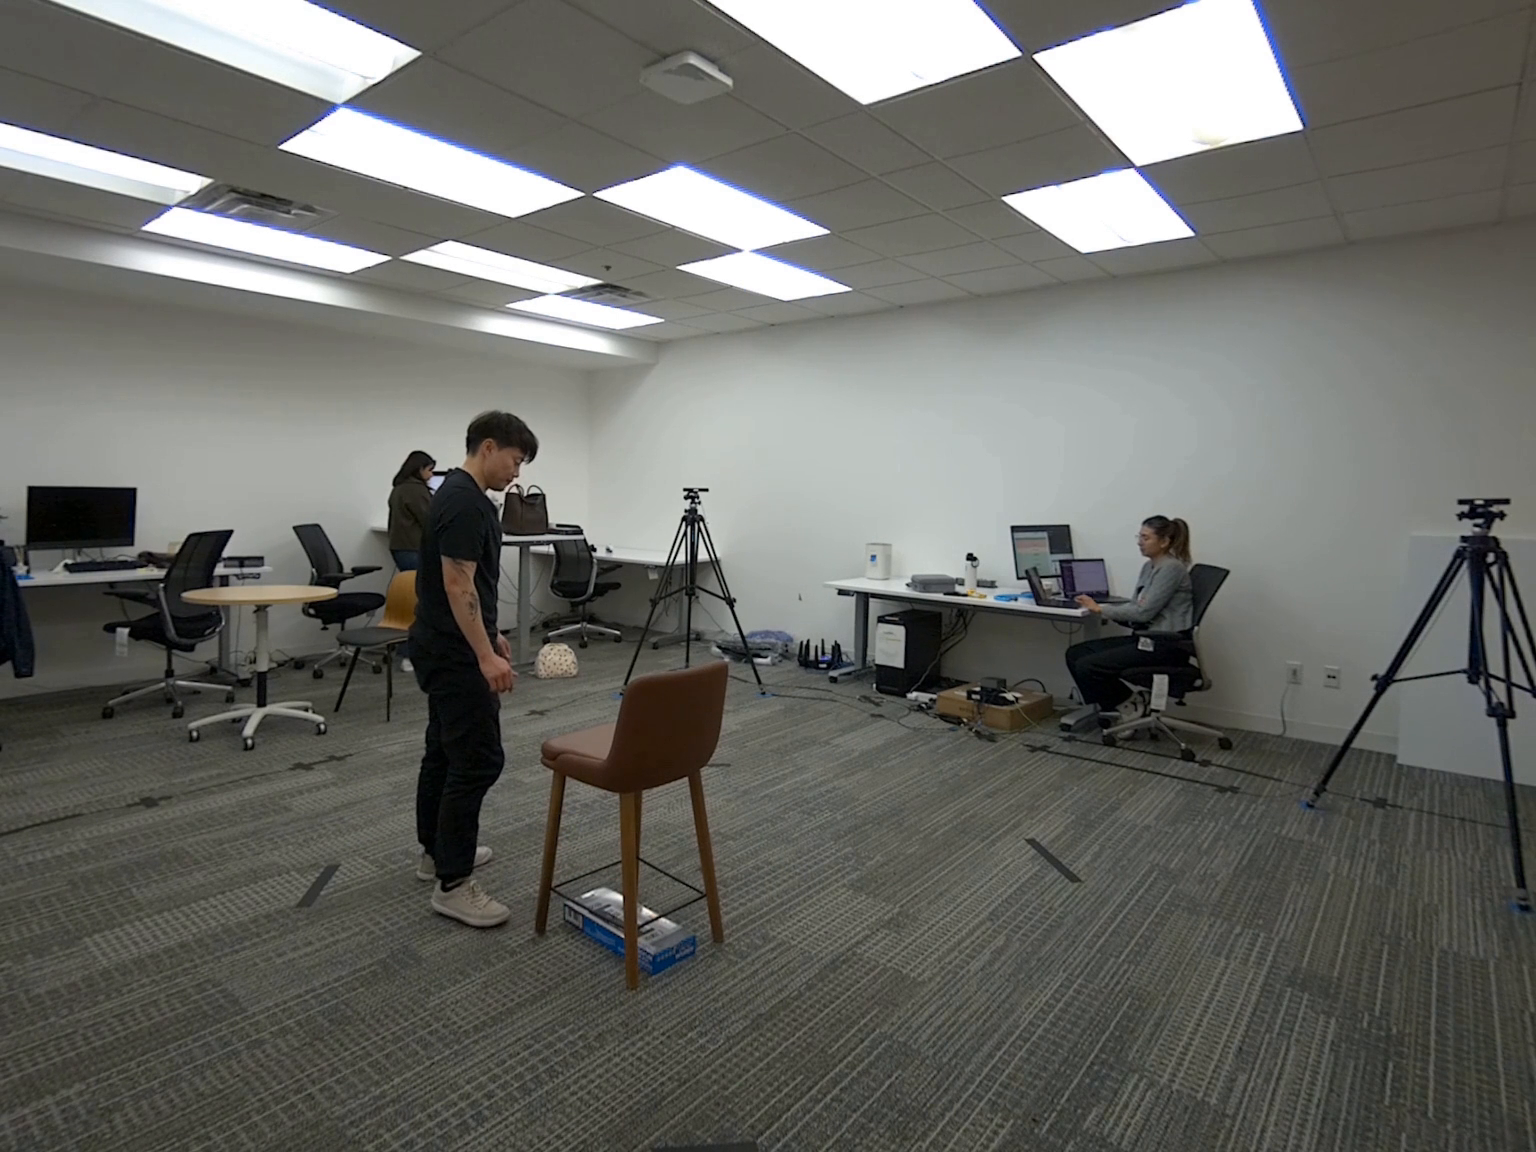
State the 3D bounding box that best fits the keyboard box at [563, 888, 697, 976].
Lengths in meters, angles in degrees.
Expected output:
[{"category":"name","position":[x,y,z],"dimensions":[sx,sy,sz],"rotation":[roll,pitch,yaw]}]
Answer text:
[{"category":"keyboard box","position":[-0.446,1.094,2.622],"dimensions":[0.452,0.059,0.171],"rotation":[6,8,42]}]
